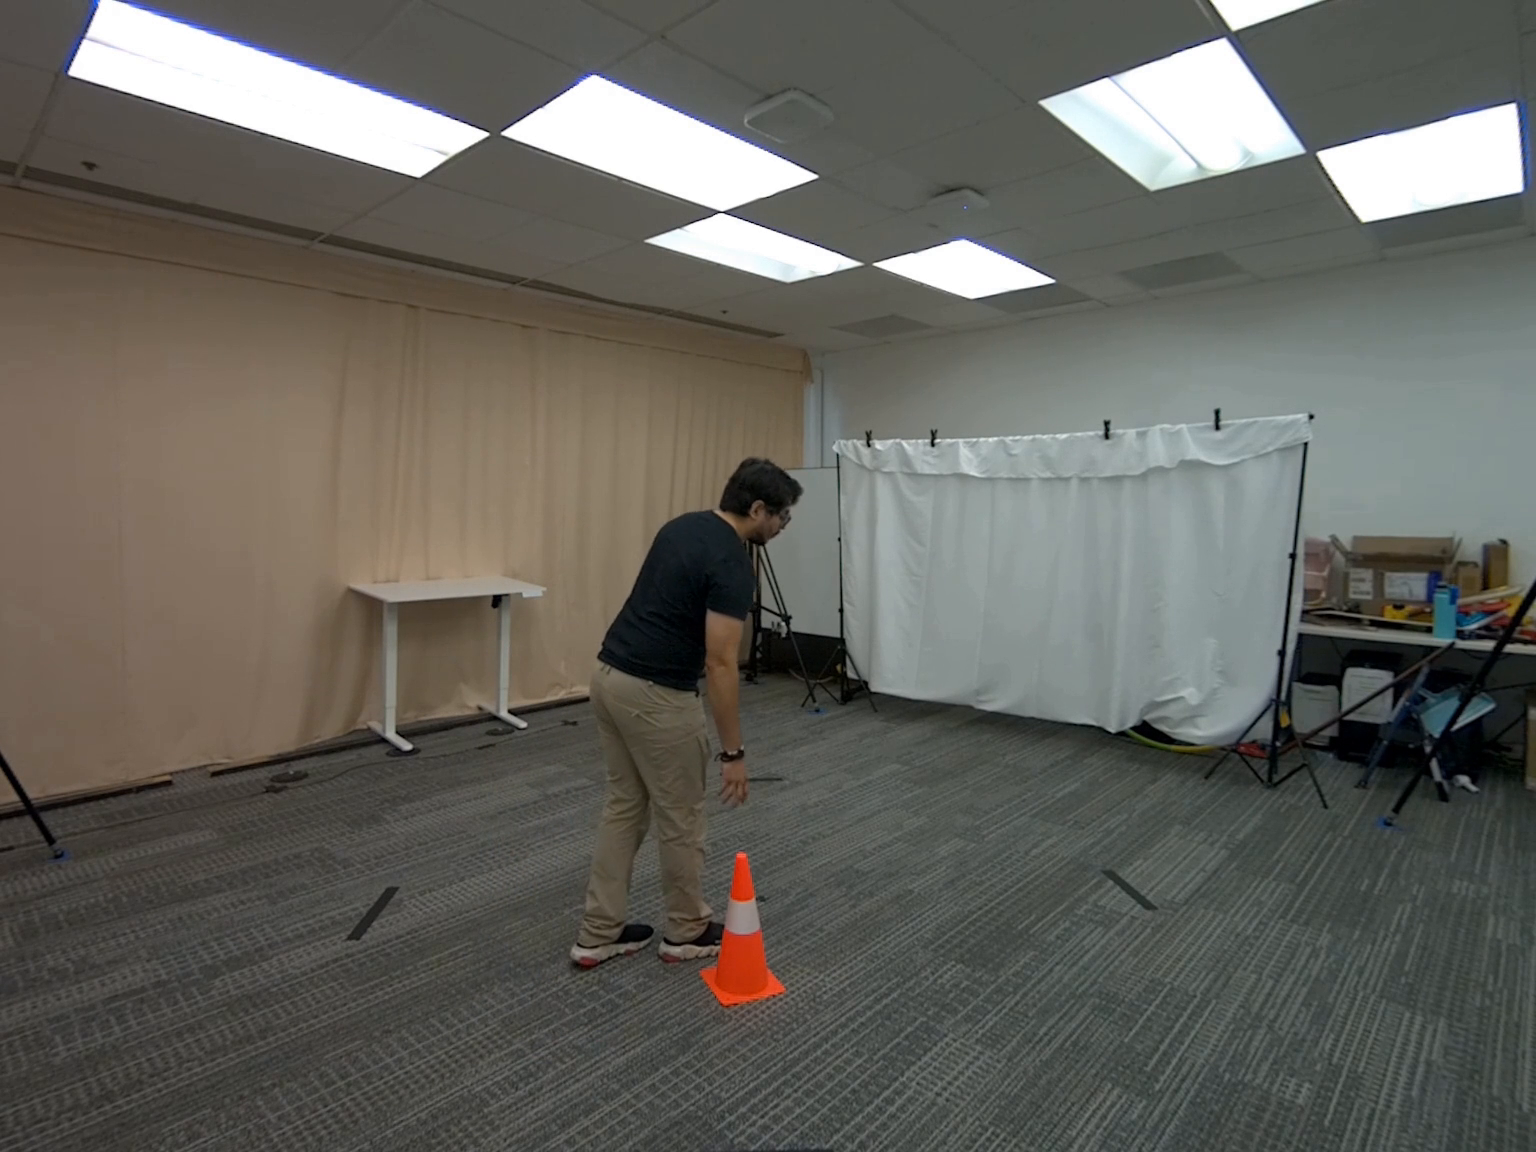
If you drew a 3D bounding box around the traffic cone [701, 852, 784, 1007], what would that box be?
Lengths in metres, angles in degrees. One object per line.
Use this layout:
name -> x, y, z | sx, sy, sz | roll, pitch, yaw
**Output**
traffic cone -> -0.075, 1.005, 2.451 | 0.201, 0.383, 0.208 | -2, 4, -21
